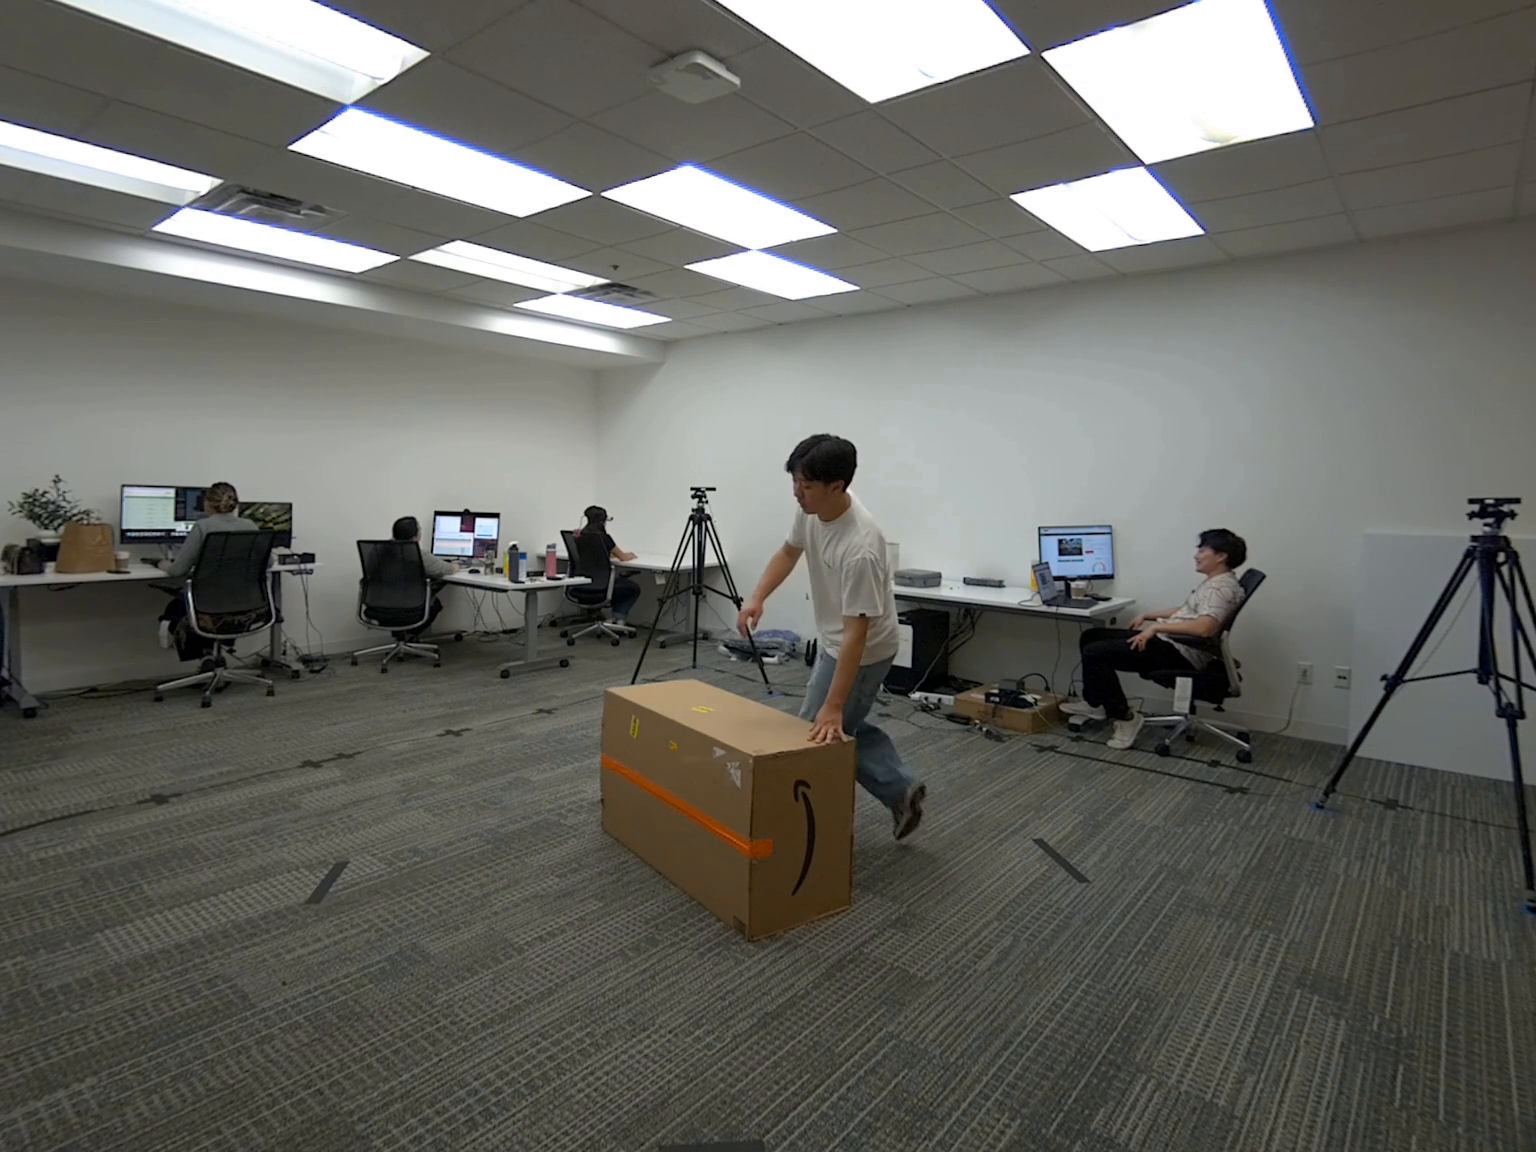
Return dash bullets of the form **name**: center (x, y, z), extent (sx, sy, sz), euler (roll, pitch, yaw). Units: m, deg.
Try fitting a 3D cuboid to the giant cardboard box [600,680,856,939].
- **giant cardboard box**: center (-0.205, 0.778, 3.121), extent (0.414, 0.576, 1.060), euler (0, 5, -36)
